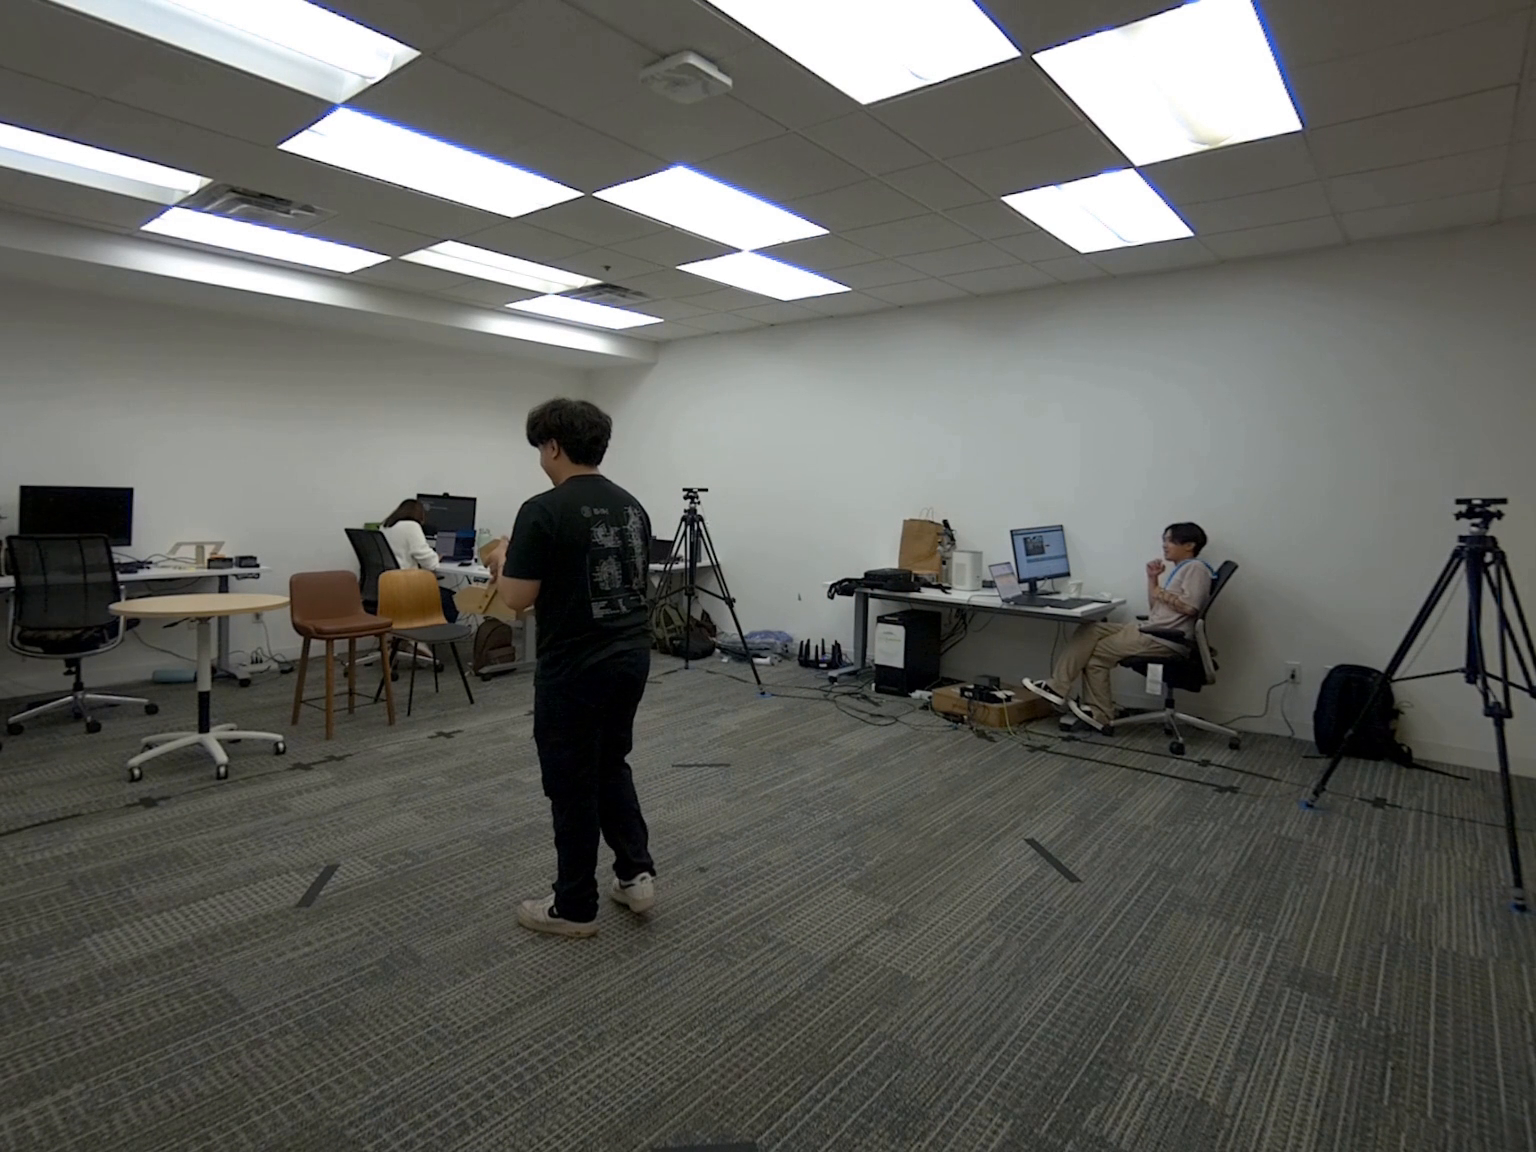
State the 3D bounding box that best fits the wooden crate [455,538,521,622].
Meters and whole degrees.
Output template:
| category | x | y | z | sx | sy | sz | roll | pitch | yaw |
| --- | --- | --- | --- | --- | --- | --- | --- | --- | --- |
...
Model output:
| category | x | y | z | sx | sy | sz | roll | pitch | yaw |
| --- | --- | --- | --- | --- | --- | --- | --- | --- | --- |
| wooden crate | -0.863 | -0.021 | 2.923 | 0.308 | 0.271 | 0.321 | 8 | 10 | 16 |
